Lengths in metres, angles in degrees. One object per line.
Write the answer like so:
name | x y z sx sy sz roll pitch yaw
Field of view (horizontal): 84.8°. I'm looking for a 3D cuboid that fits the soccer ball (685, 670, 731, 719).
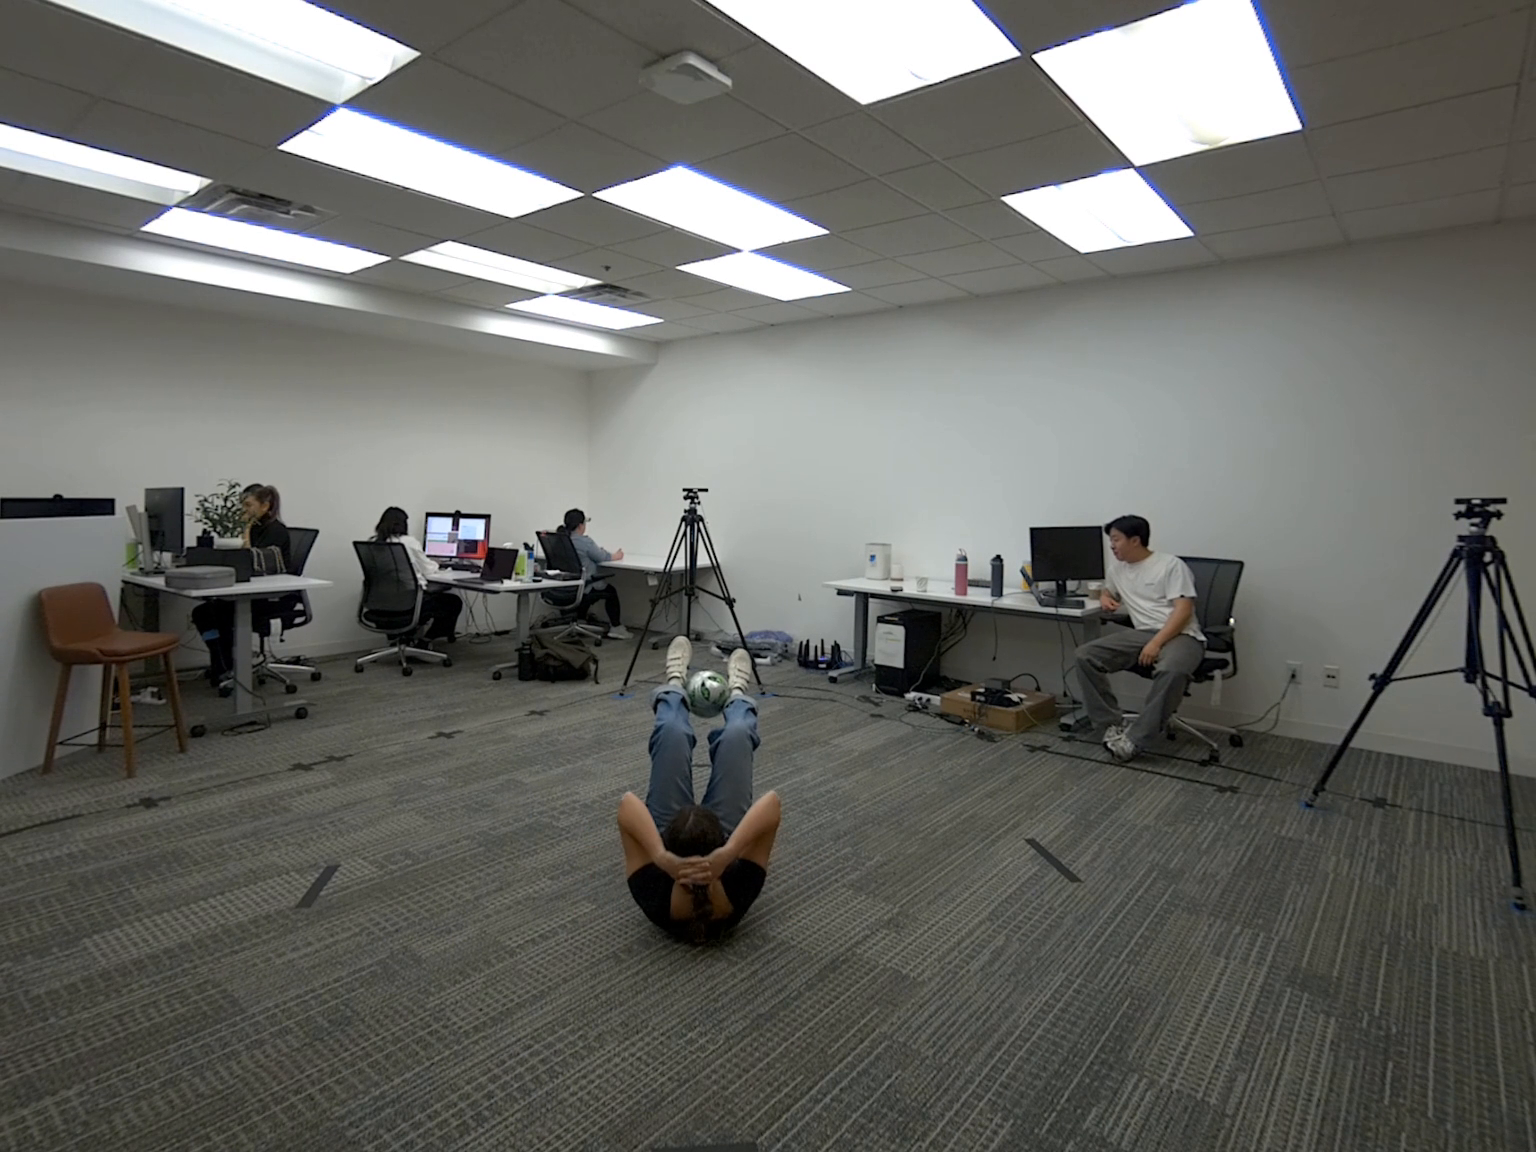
soccer ball | -0.250 0.465 3.381 0.187 0.187 0.188 -3 4 -2
